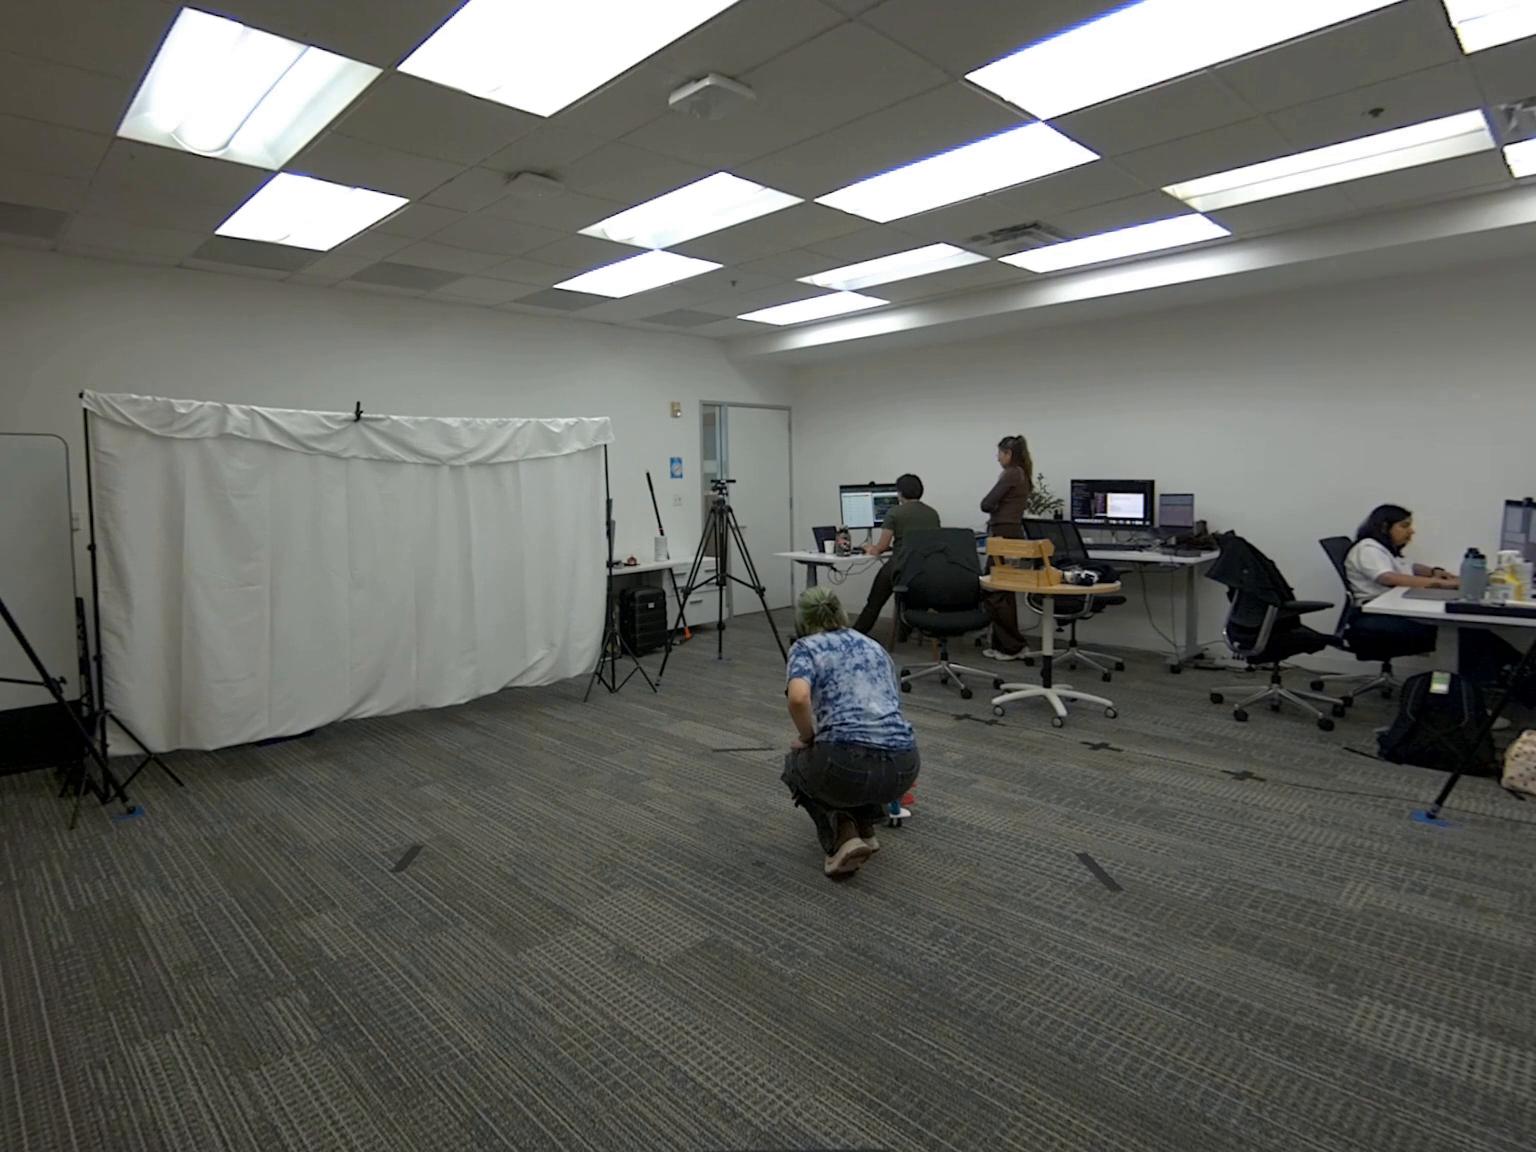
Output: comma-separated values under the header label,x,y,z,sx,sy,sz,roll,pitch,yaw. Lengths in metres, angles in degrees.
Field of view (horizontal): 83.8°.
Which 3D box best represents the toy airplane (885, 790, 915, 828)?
label,x,y,z,sx,sy,sz,roll,pitch,yaw
toy airplane,0.512,0.920,3.515,0.245,0.156,0.267,-5,7,-35
